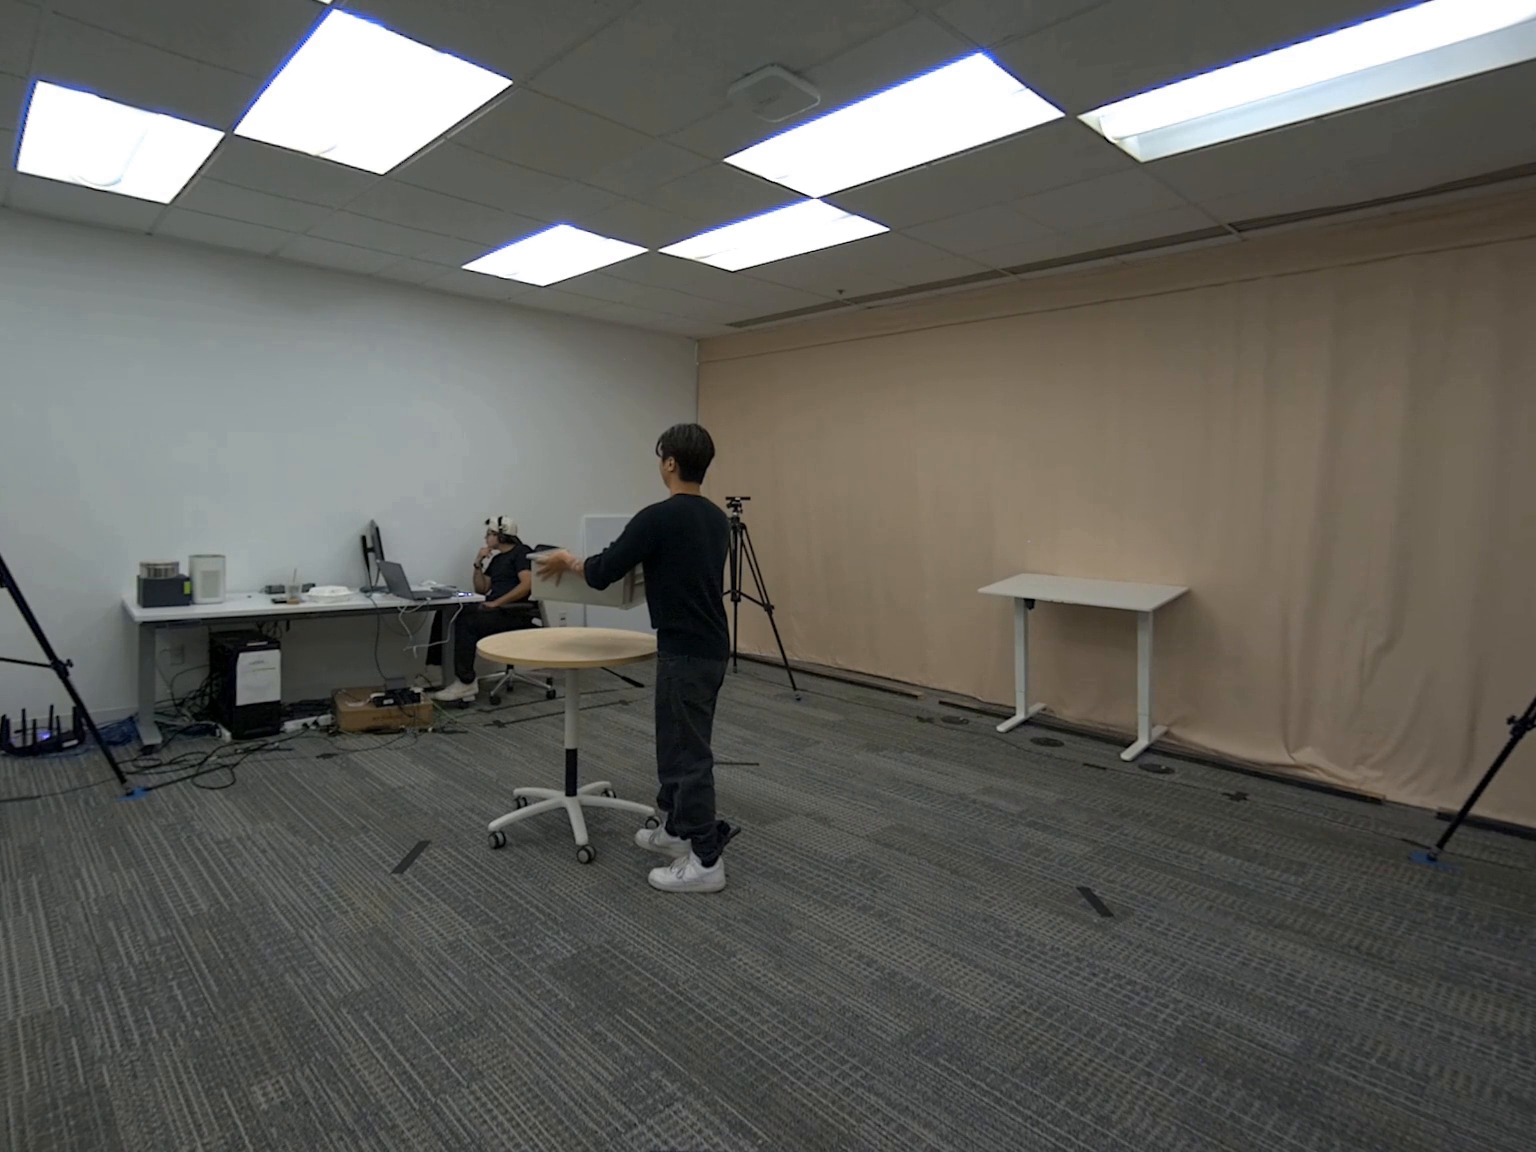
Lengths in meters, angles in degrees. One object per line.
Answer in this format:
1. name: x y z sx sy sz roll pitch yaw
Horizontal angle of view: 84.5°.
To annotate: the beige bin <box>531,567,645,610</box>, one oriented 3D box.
1. beige bin: -0.697 0.004 3.394 0.426 0.188 0.376 5 10 10
